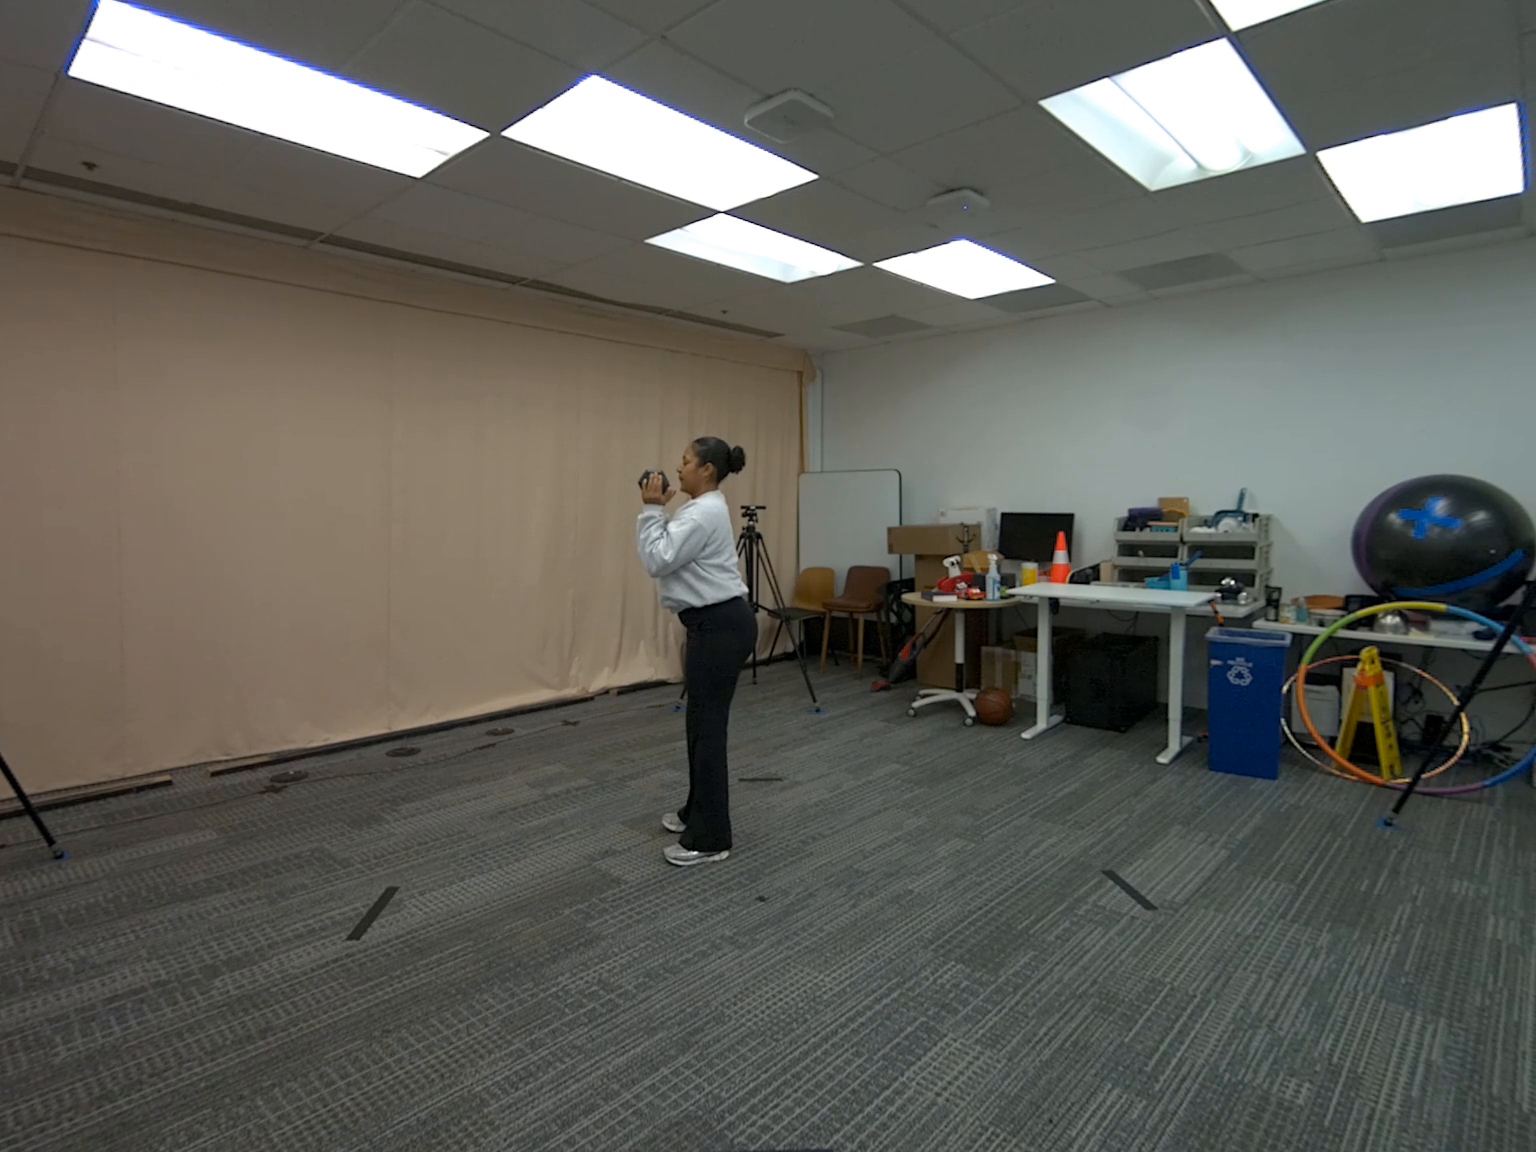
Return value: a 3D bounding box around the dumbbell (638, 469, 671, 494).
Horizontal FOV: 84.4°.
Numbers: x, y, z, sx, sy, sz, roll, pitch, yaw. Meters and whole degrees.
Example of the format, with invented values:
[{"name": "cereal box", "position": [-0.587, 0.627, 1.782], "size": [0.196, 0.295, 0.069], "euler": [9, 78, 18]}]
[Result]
[{"name": "dumbbell", "position": [-0.449, -0.365, 3.393], "size": [0.108, 0.123, 0.296], "euler": [37, 2, -8]}]
